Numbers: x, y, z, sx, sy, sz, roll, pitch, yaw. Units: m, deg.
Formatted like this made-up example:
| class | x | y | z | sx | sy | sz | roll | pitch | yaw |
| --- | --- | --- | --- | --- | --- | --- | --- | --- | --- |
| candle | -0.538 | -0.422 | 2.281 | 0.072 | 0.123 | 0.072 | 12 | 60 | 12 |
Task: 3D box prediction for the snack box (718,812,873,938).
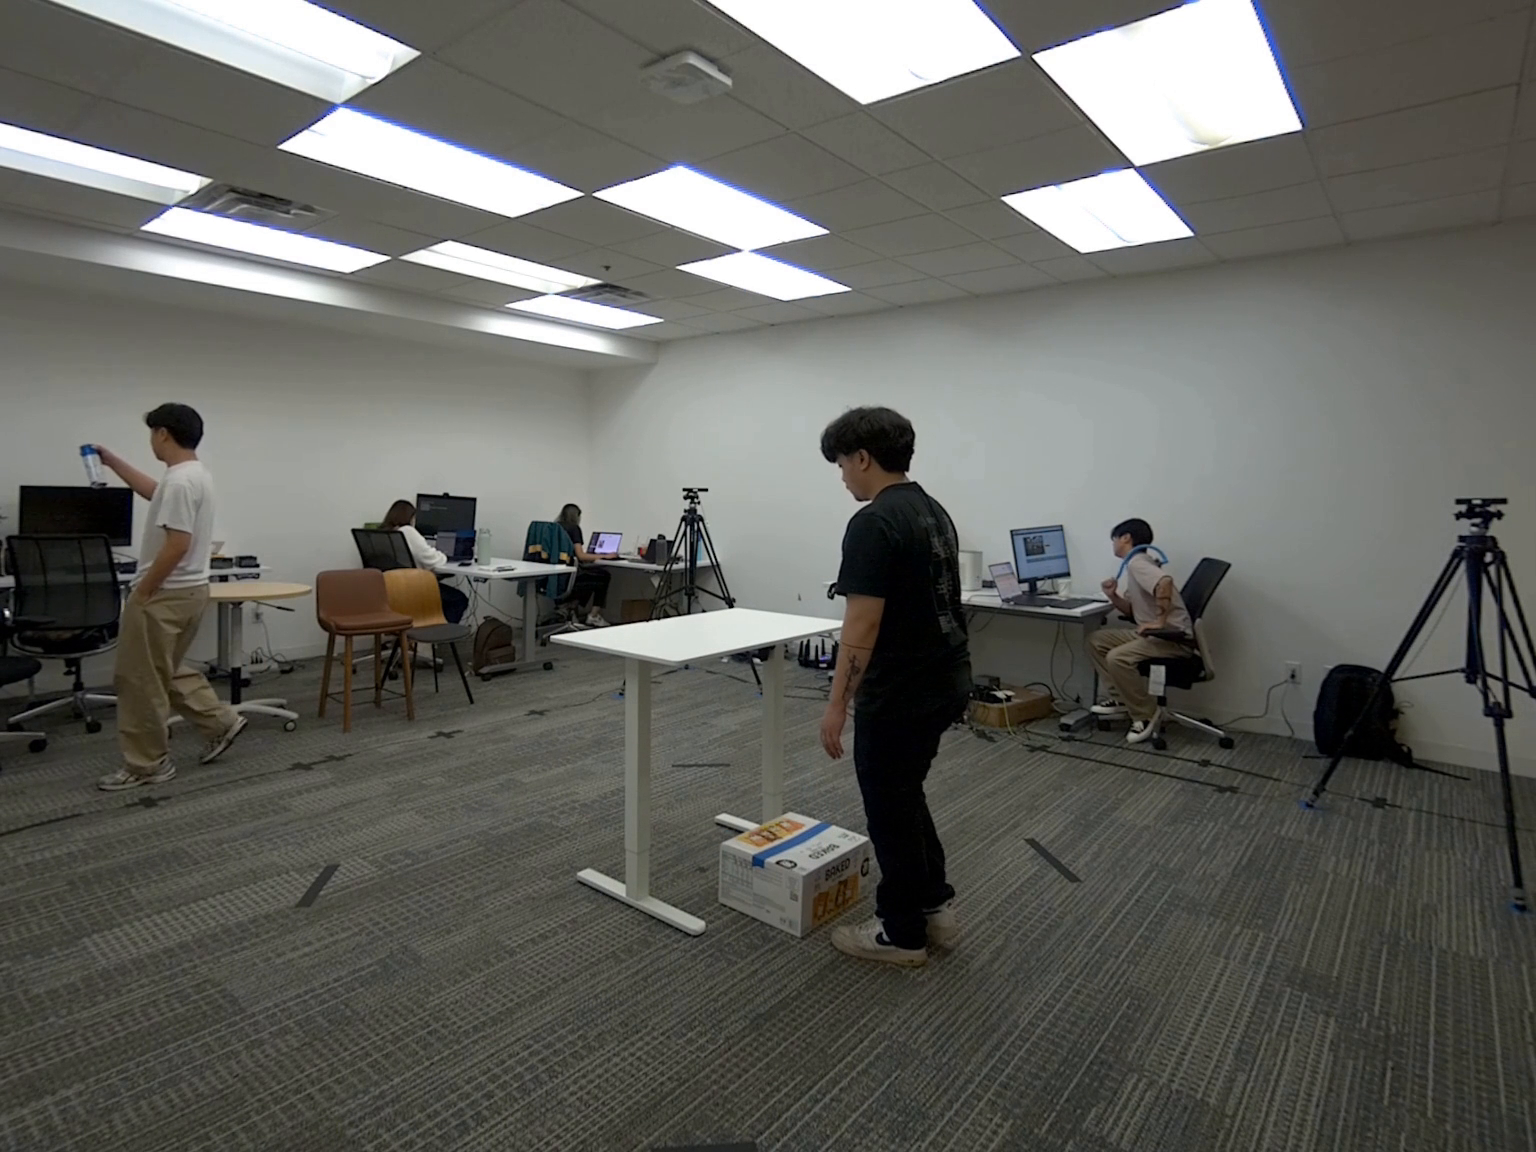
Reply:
| class | x | y | z | sx | sy | sz | roll | pitch | yaw |
| --- | --- | --- | --- | --- | --- | --- | --- | --- | --- |
| snack box | 0.086 | 0.998 | 2.885 | 0.352 | 0.205 | 0.393 | 5 | 6 | 39 |
